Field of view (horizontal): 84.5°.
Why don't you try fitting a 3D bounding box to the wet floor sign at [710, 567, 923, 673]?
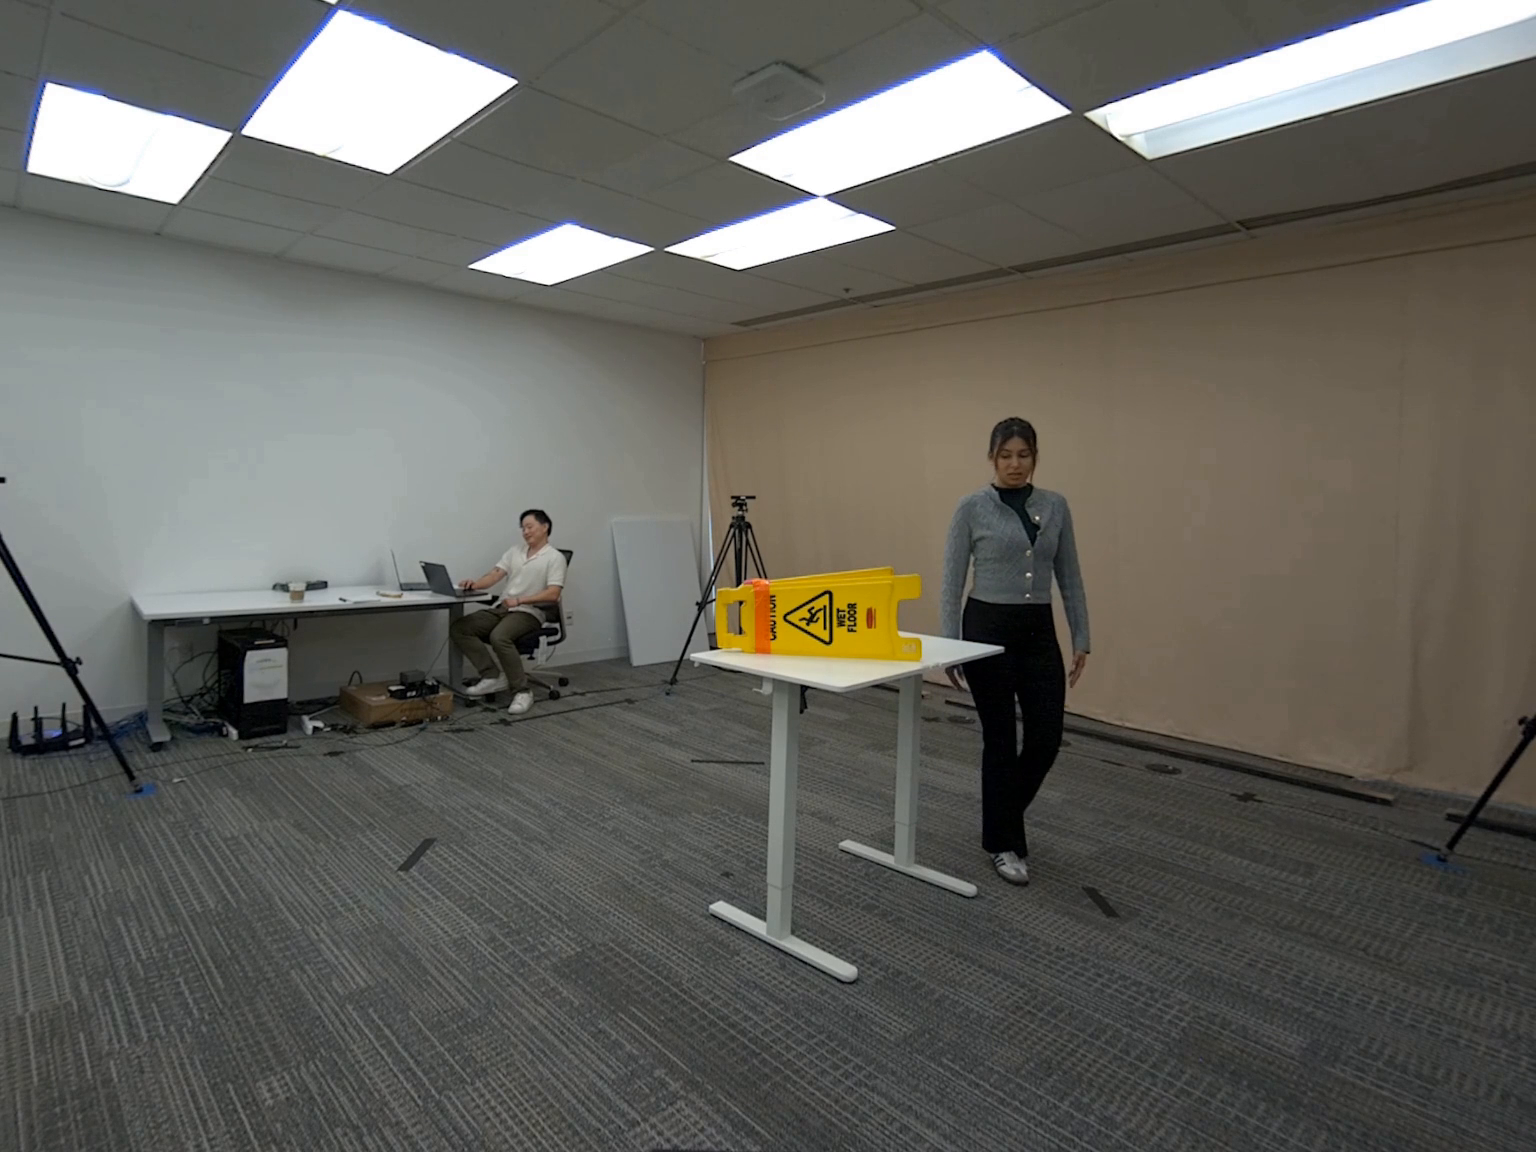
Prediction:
[{"bbox_3d":[0.146,0.134,2.795,0.642,0.281,0.292,-2,4,-7],"label":"wet floor sign"}]
